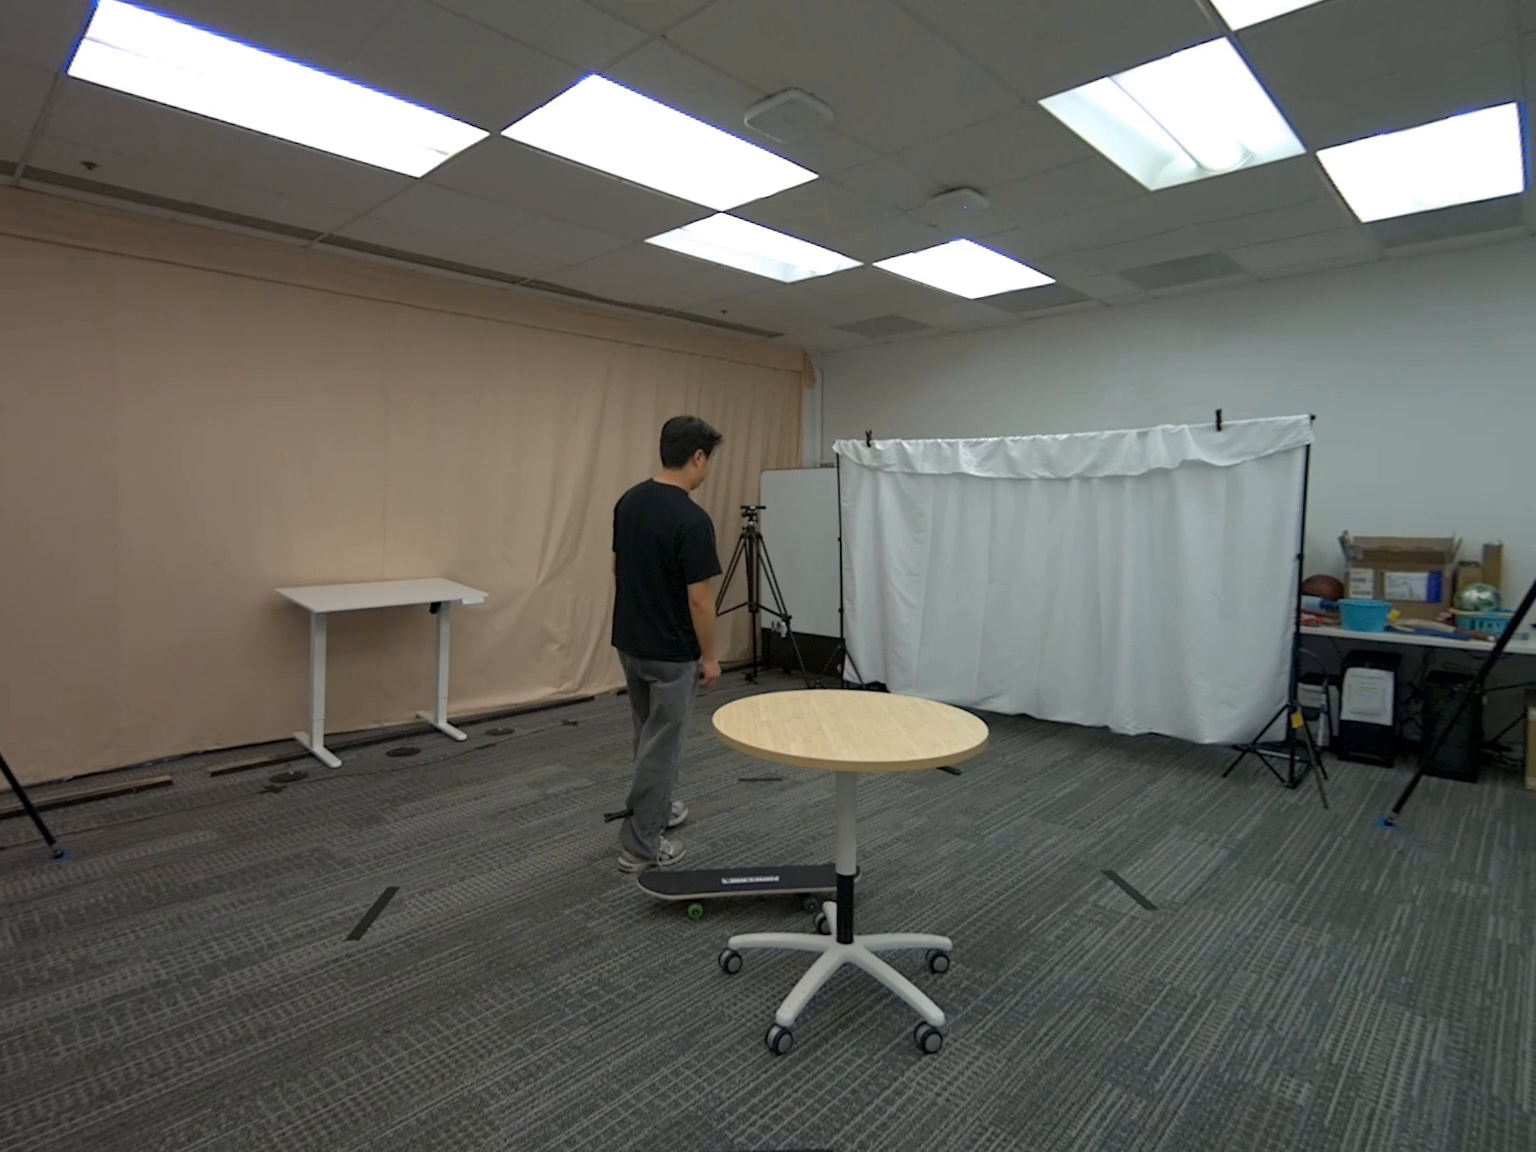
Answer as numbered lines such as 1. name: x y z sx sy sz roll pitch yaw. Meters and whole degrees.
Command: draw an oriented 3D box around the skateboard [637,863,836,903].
1. skateboard: -0.059 1.089 2.939 0.780 0.110 0.195 -1 5 -7
